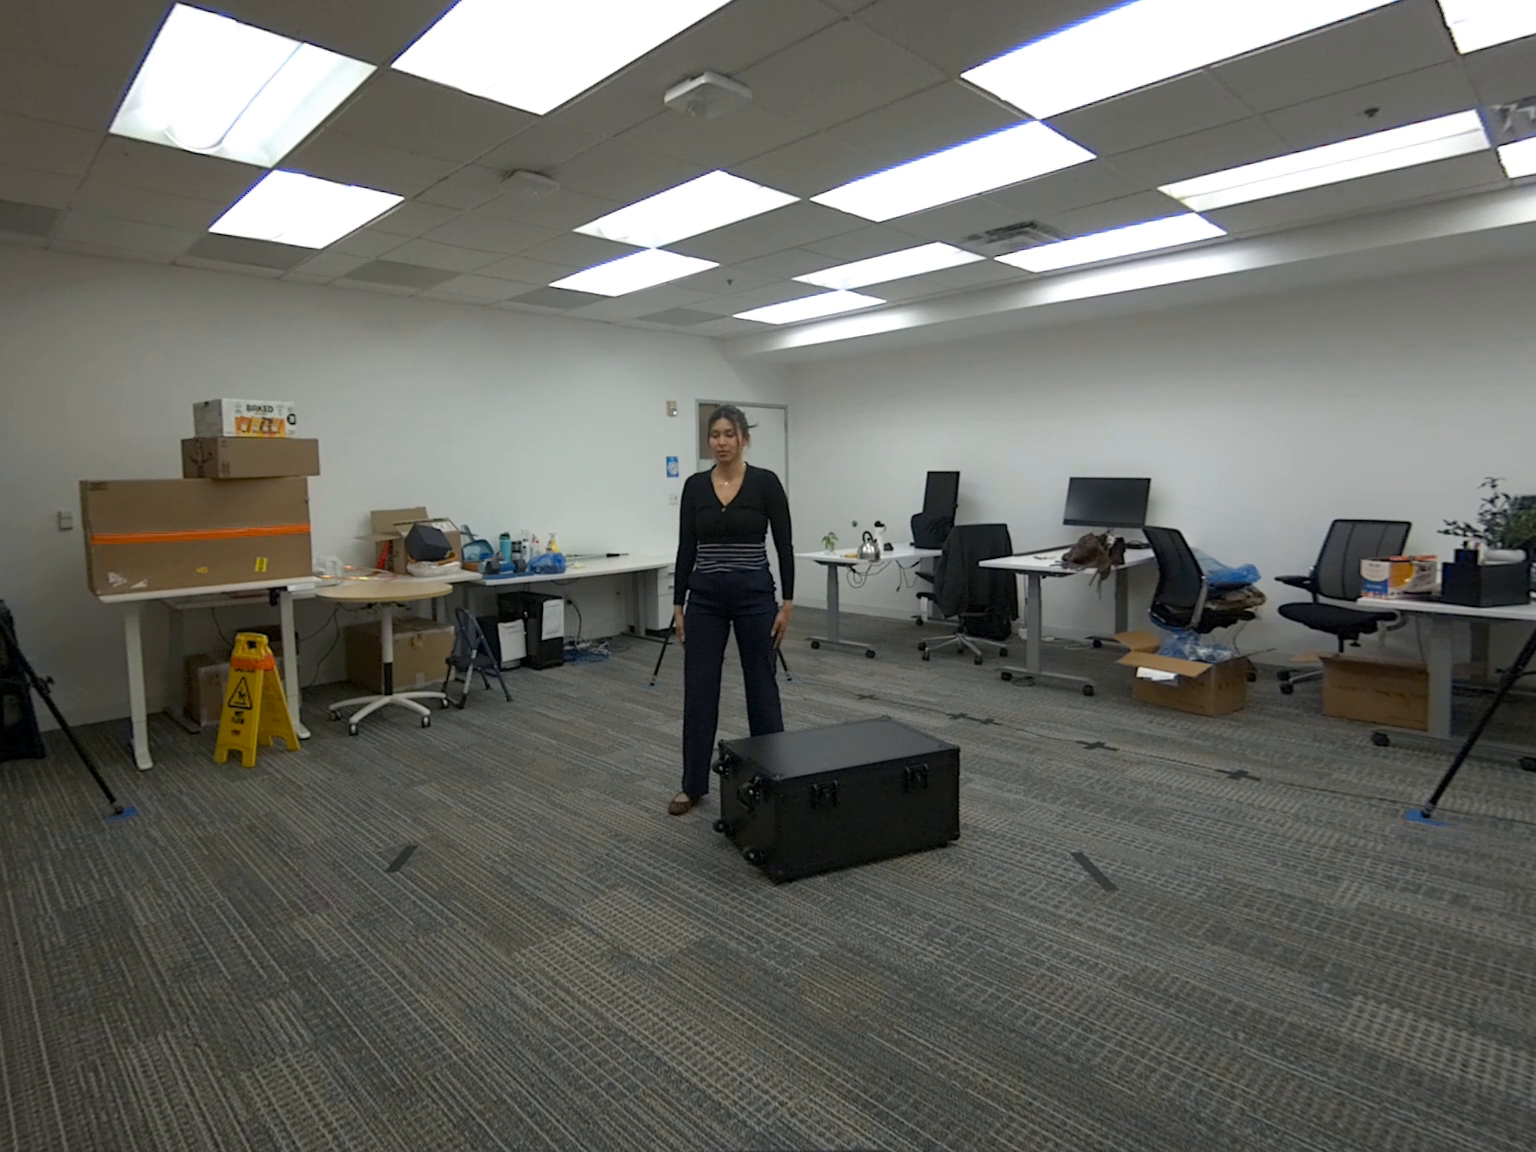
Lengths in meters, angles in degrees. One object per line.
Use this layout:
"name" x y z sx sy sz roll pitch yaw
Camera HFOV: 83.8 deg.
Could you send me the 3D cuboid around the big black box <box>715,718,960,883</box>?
"big black box" 0.289 0.828 3.288 0.844 0.394 0.534 -4 6 -24
